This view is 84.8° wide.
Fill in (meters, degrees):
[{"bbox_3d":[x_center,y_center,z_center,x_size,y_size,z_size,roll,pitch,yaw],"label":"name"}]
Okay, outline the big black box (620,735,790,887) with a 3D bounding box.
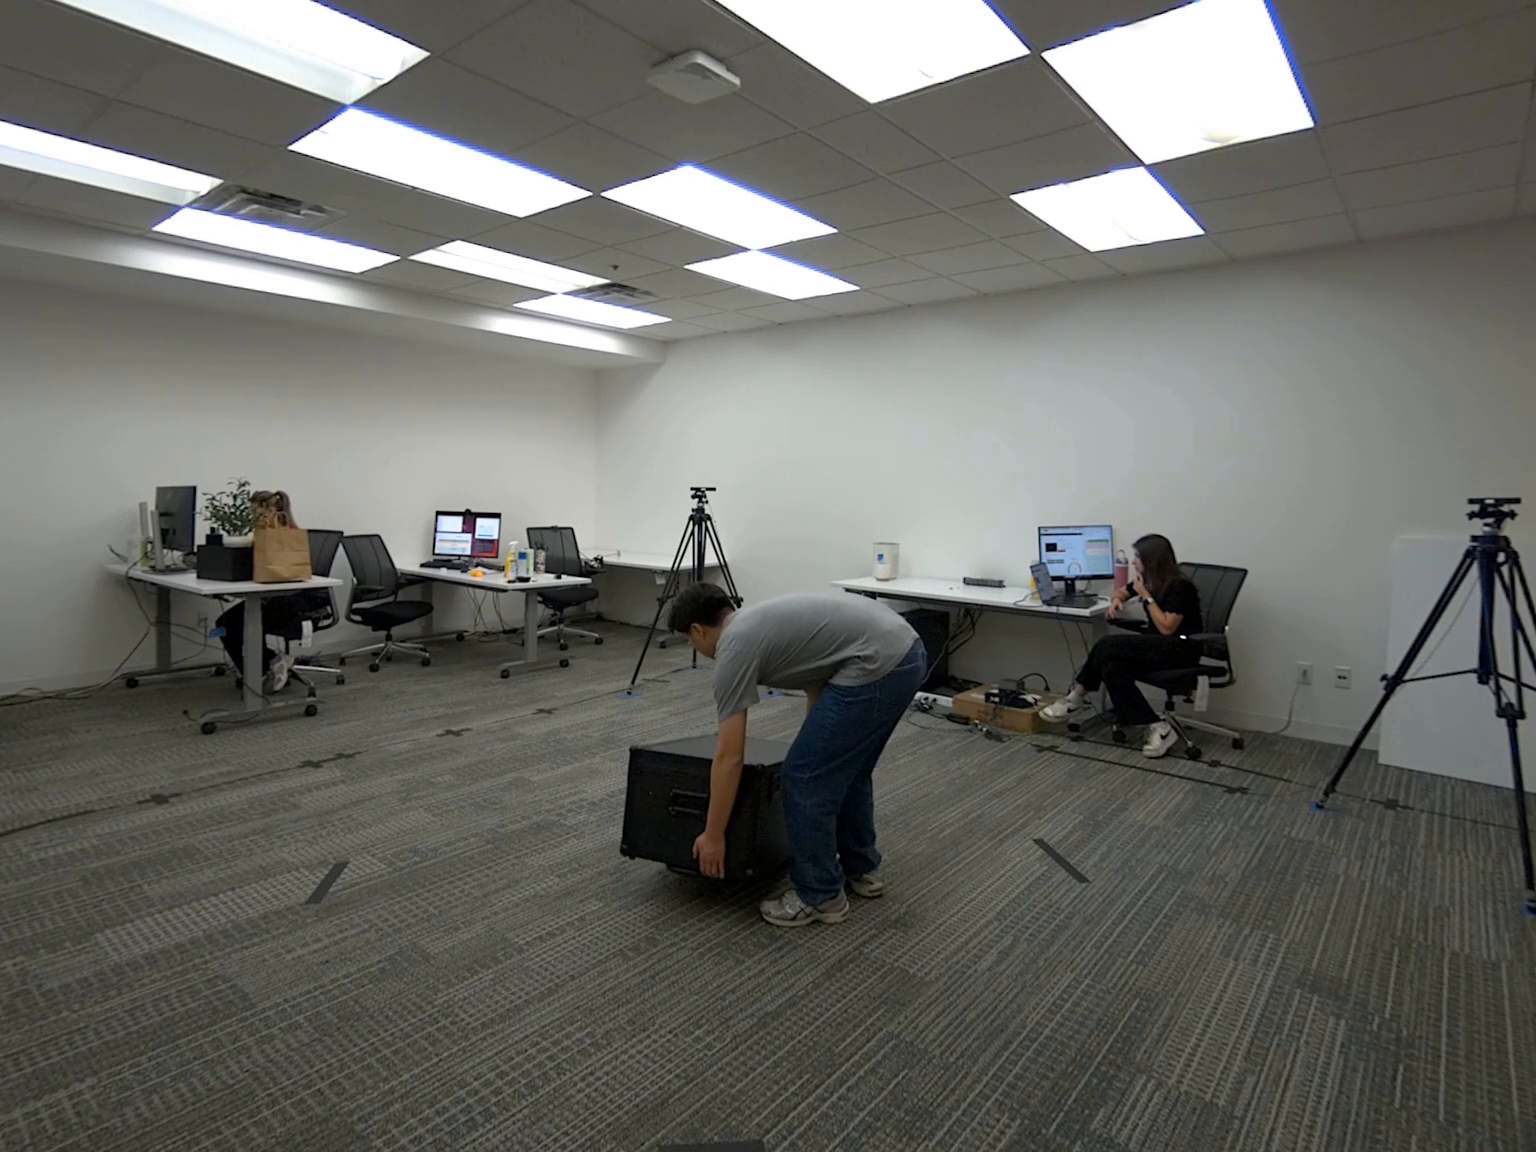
[{"bbox_3d":[-0.132,0.821,3.158,0.534,0.398,0.838,3,-4,21],"label":"big black box"}]
